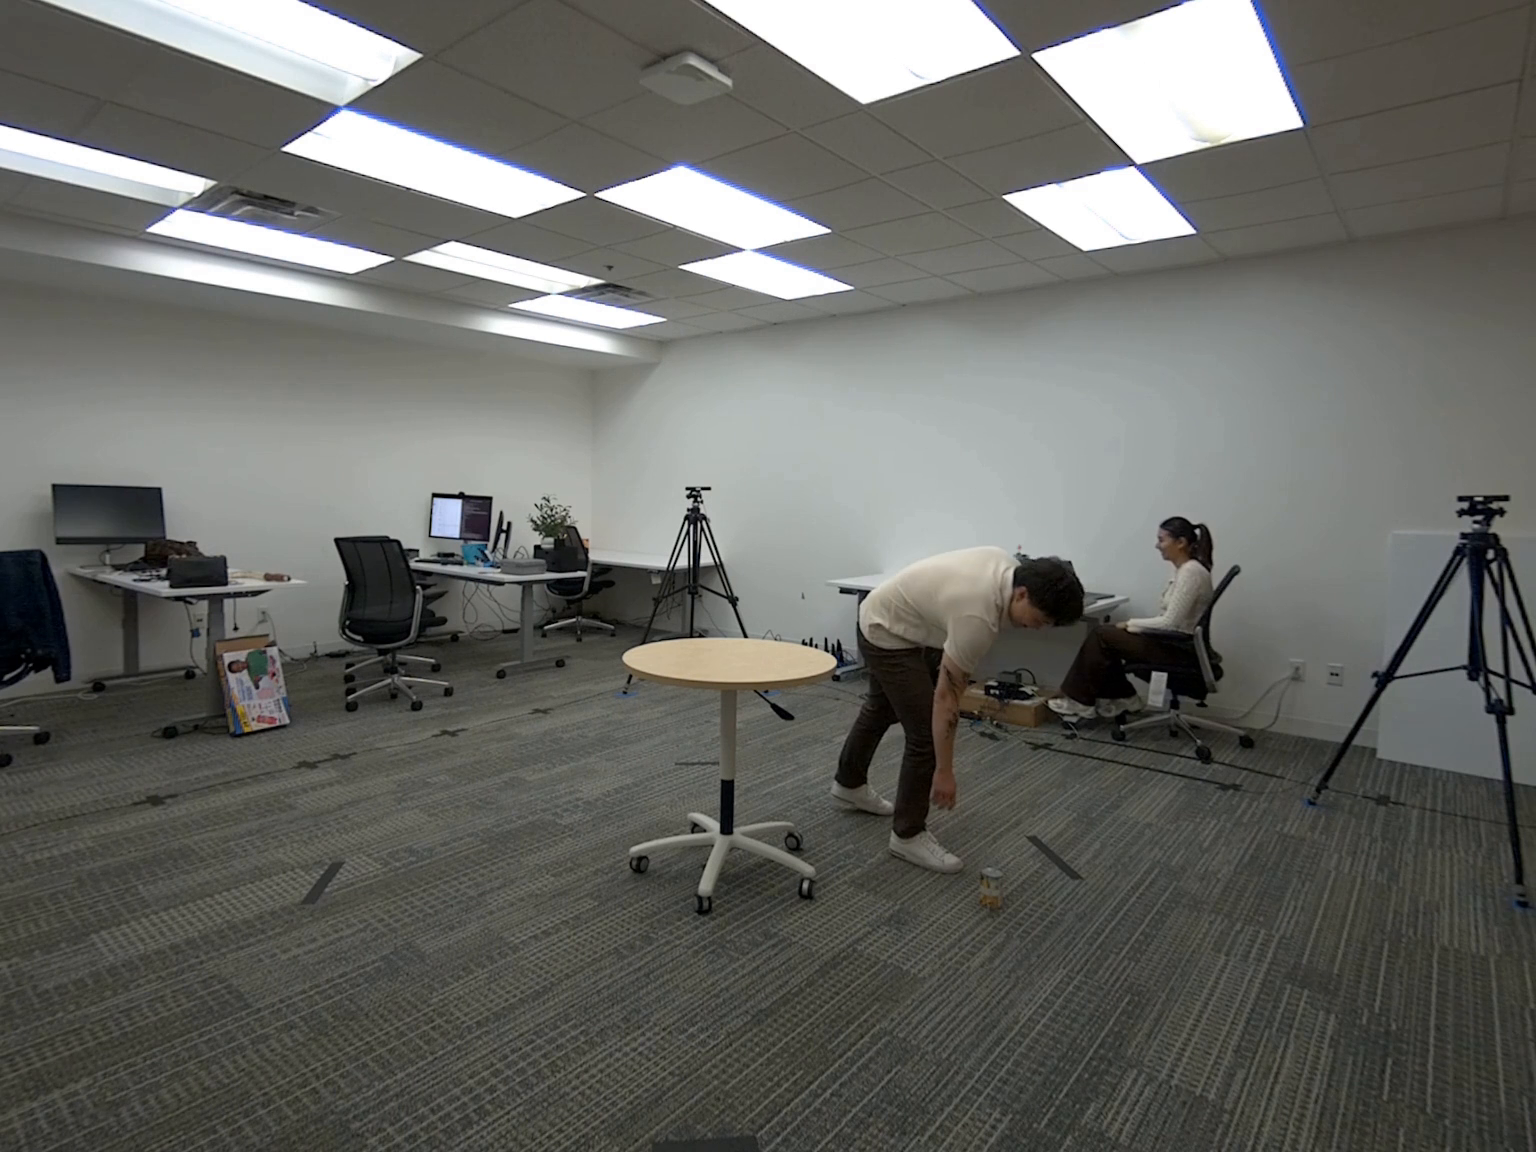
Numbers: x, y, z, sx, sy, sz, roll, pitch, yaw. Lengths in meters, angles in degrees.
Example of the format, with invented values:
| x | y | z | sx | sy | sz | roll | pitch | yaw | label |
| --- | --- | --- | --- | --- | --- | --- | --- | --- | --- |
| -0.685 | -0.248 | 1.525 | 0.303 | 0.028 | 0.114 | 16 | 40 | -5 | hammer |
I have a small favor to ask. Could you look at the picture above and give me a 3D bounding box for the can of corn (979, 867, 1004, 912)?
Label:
| x | y | z | sx | sy | sz | roll | pitch | yaw | label |
| --- | --- | --- | --- | --- | --- | --- | --- | --- | --- |
| 0.758 | 1.050 | 2.885 | 0.074 | 0.111 | 0.074 | 5 | 0 | -2 | can of corn |
